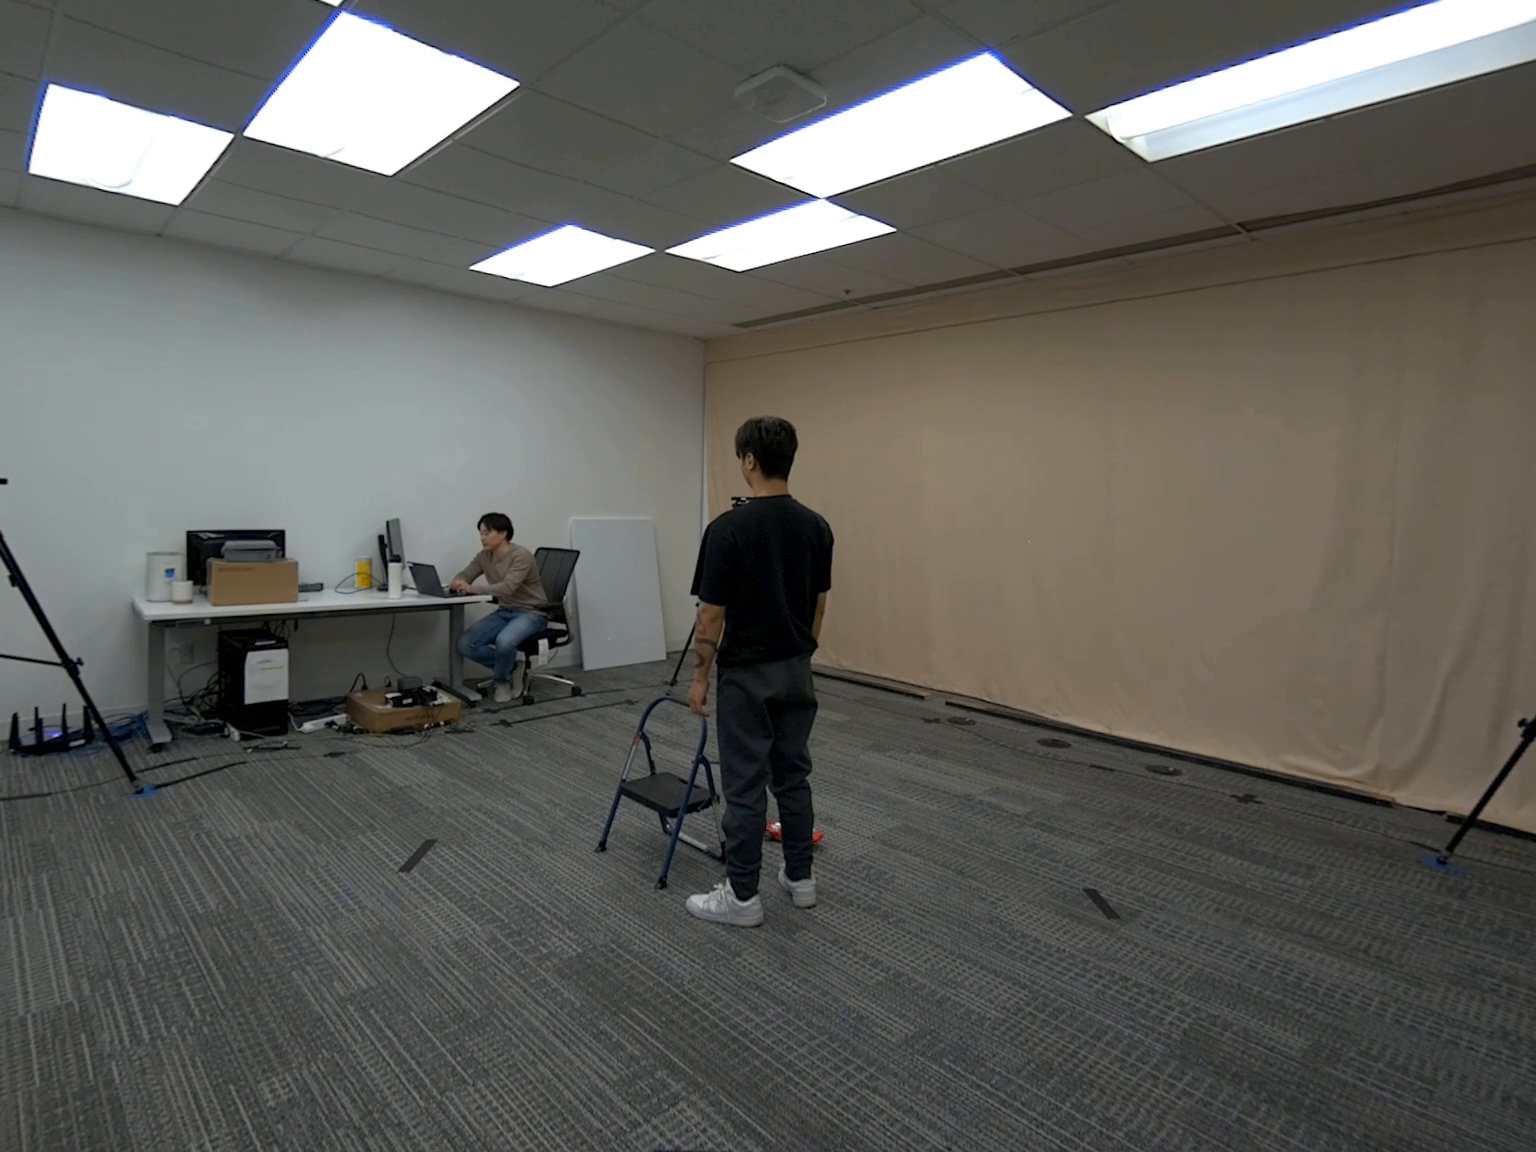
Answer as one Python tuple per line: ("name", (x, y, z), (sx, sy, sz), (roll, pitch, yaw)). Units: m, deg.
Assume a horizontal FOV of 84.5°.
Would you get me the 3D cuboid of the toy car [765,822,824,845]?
("toy car", (0.098, 1.056, 3.428), (0.259, 0.083, 0.127), (-9, -5, 32))
